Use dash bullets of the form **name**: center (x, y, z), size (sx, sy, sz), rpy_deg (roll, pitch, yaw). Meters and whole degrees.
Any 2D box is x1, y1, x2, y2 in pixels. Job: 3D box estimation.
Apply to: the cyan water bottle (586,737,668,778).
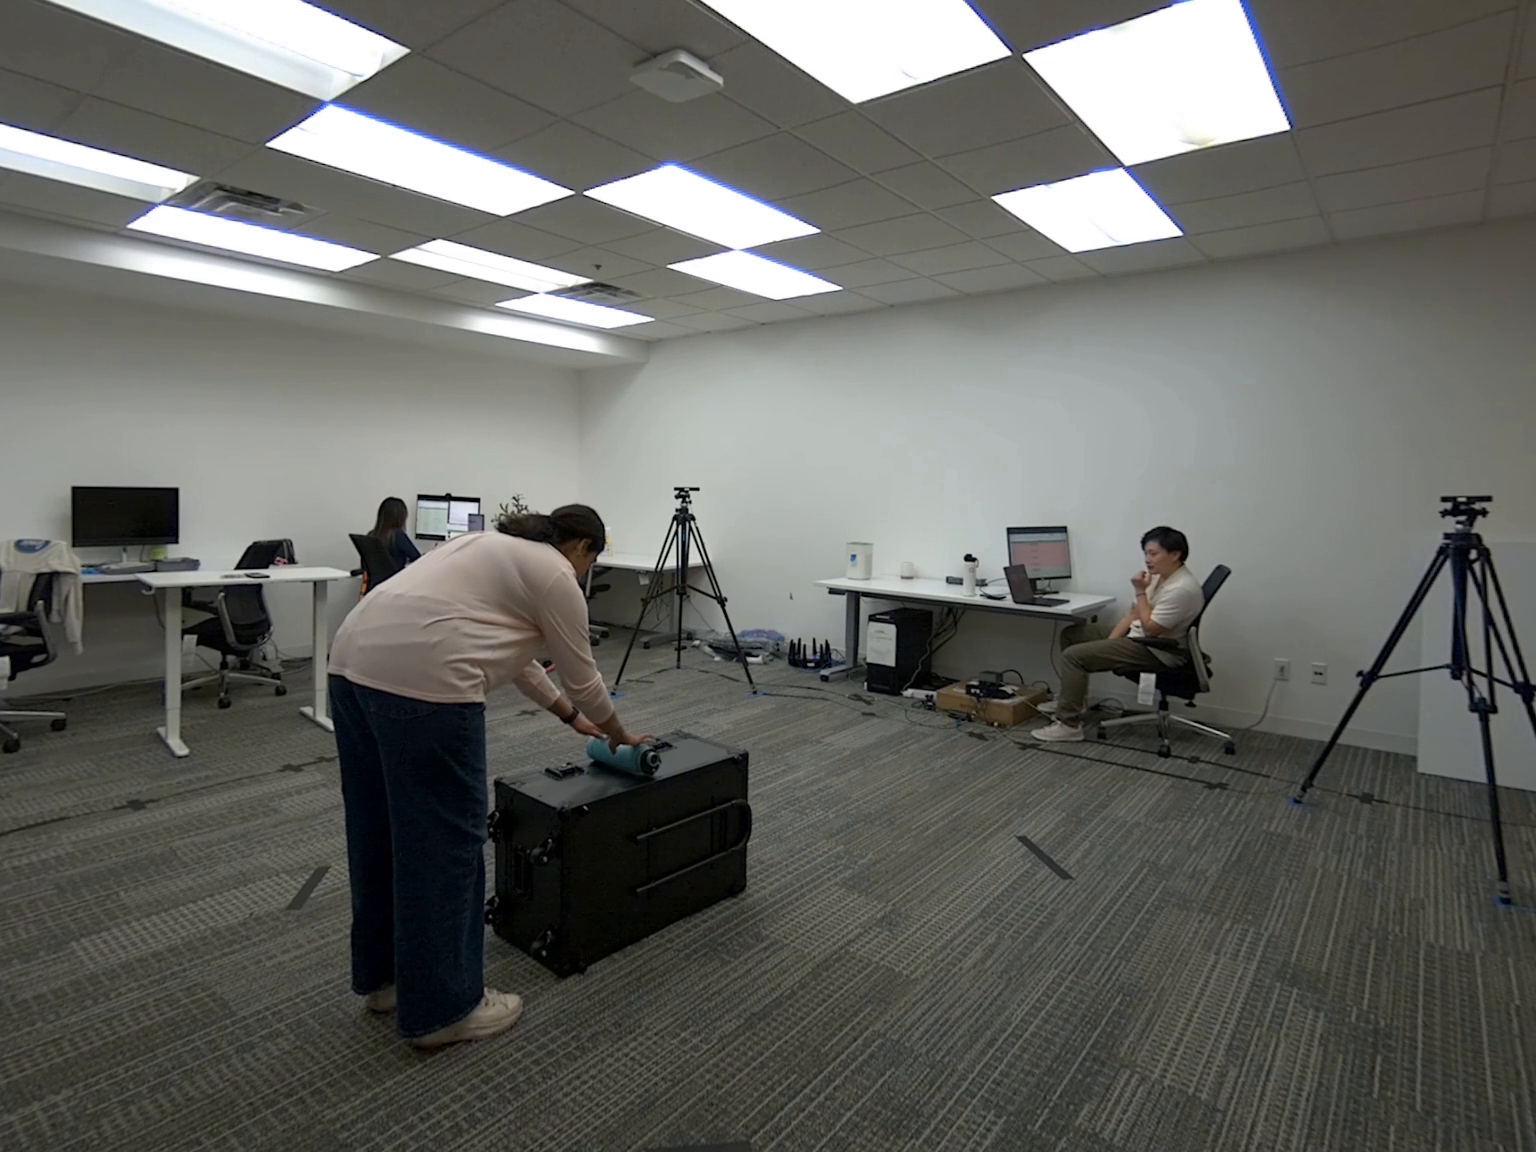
- **cyan water bottle**: center (-0.470, 0.565, 2.730), size (0.293, 0.092, 0.089), rpy_deg (4, 5, 38)
